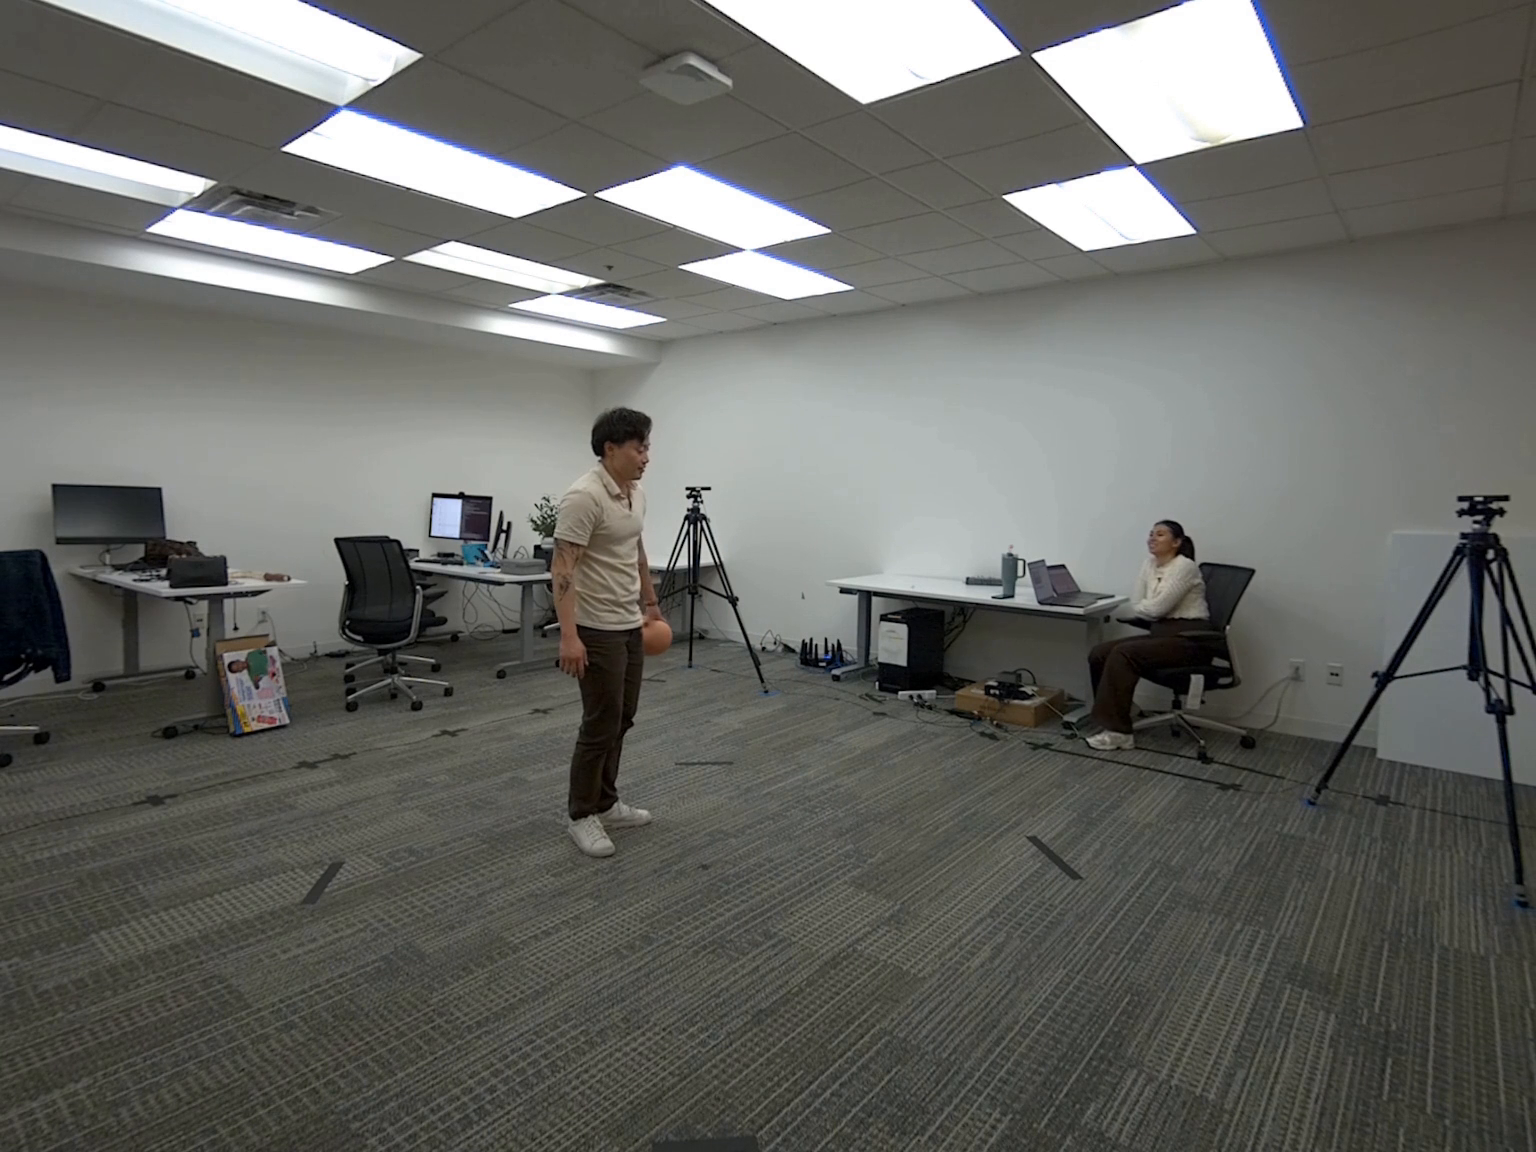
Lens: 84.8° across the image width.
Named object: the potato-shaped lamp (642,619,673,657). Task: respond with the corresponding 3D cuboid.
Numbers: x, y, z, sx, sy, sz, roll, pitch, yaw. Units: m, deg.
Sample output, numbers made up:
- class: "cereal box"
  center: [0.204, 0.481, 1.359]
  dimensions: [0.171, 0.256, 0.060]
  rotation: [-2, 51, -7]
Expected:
- class: "potato-shaped lamp"
  center: [-0.521, 0.251, 3.651]
  dimensions: [0.202, 0.174, 0.159]
  rotation: [-5, -15, 21]
